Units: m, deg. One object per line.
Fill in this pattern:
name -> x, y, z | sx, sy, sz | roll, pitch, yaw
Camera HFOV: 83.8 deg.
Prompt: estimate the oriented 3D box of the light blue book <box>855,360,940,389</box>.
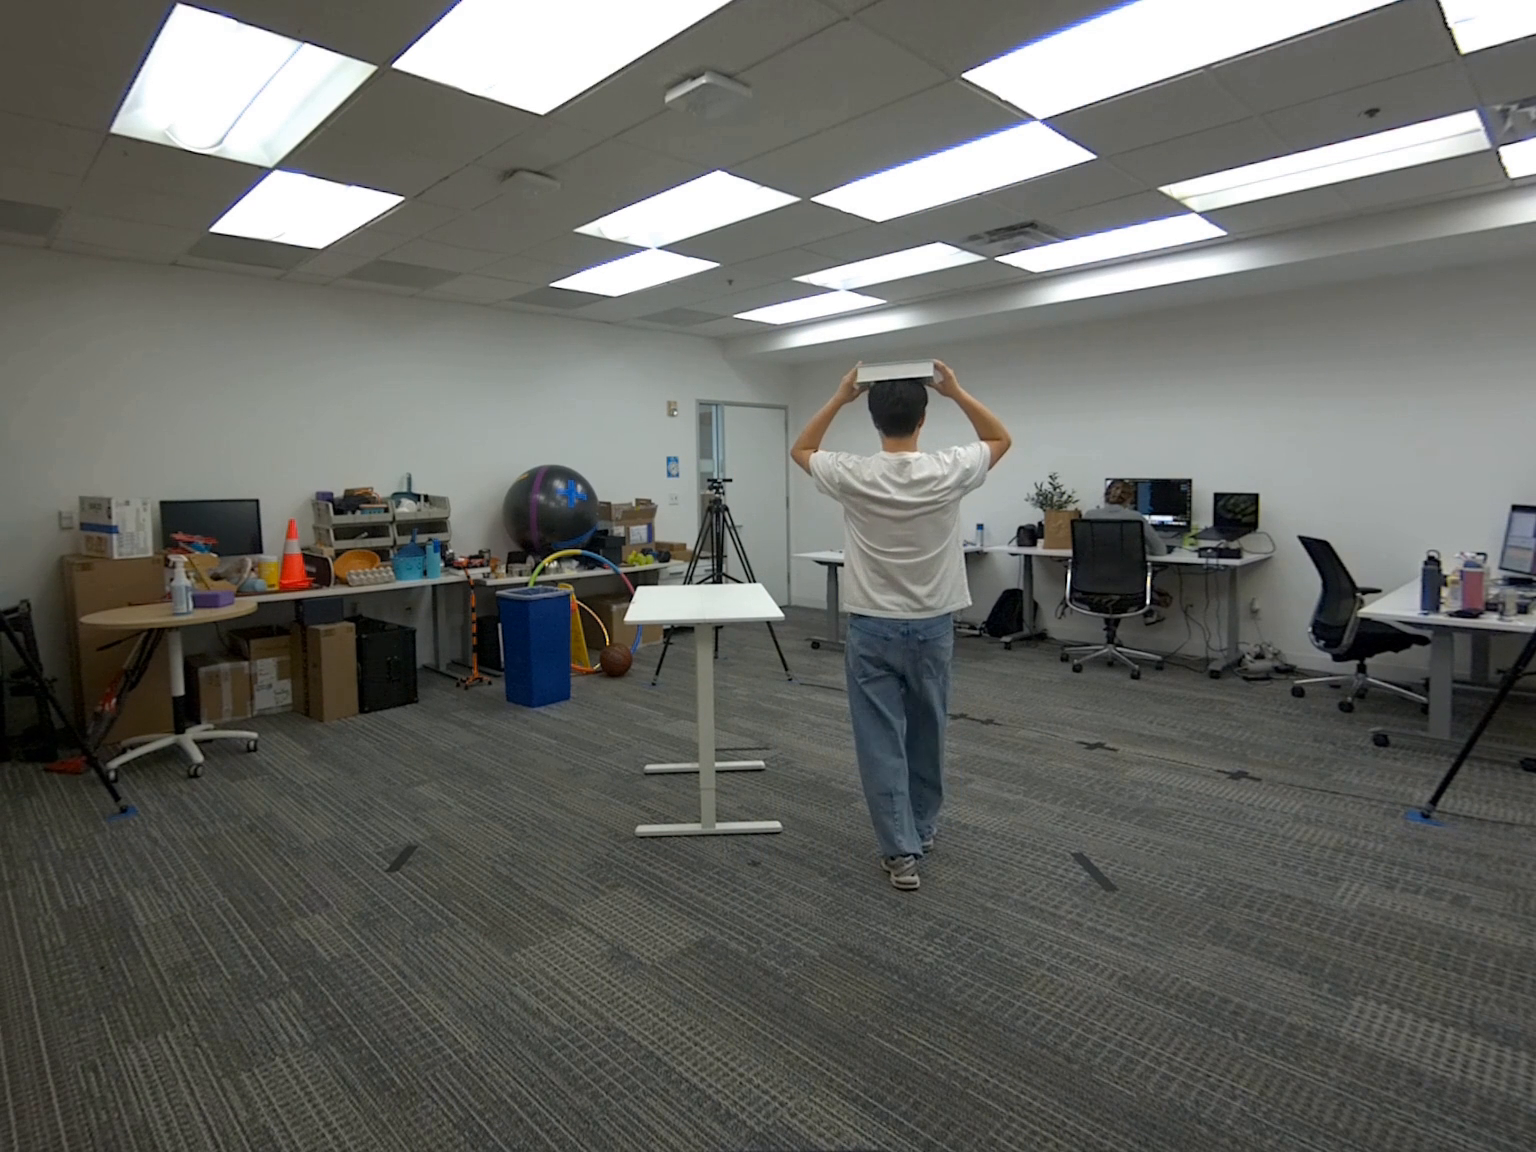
light blue book -> 0.459, -0.703, 2.996 | 0.264, 0.059, 0.189 | -3, 0, 11
